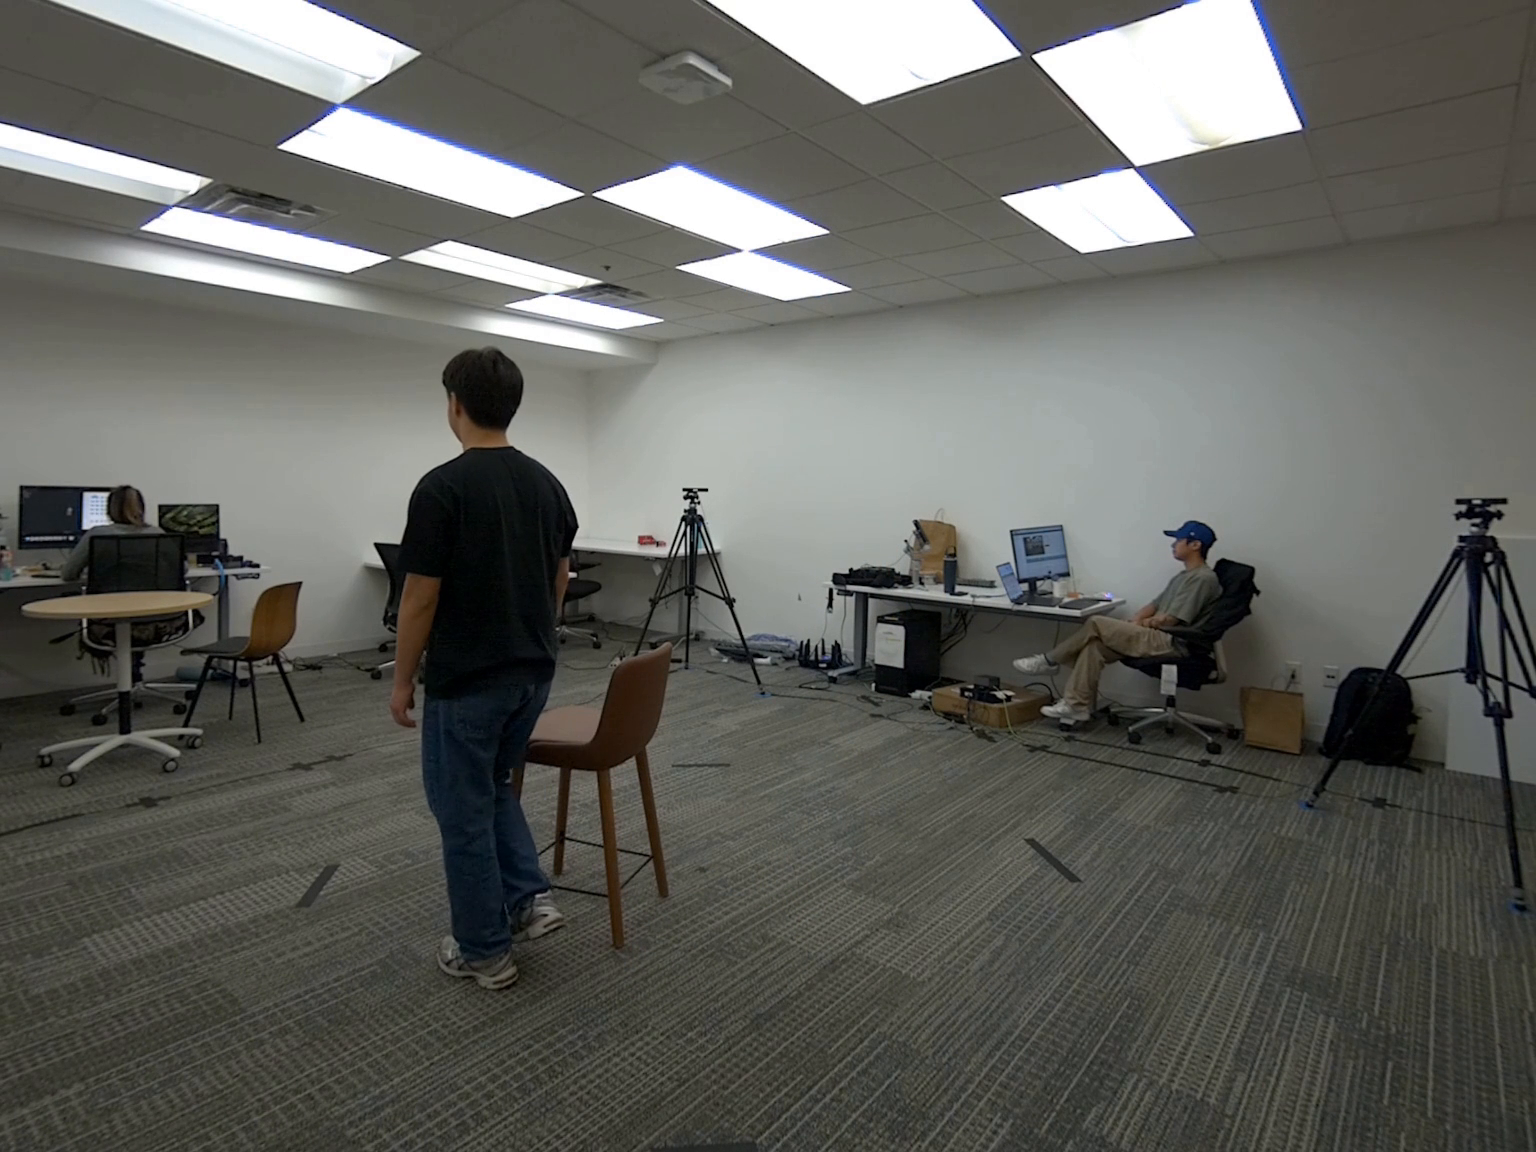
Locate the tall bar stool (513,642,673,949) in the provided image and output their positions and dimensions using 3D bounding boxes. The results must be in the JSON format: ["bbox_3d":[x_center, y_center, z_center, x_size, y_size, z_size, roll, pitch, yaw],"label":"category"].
[{"bbox_3d":[-0.602,0.659,2.783,0.478,0.887,0.448,4,4,19],"label":"tall bar stool"}]
